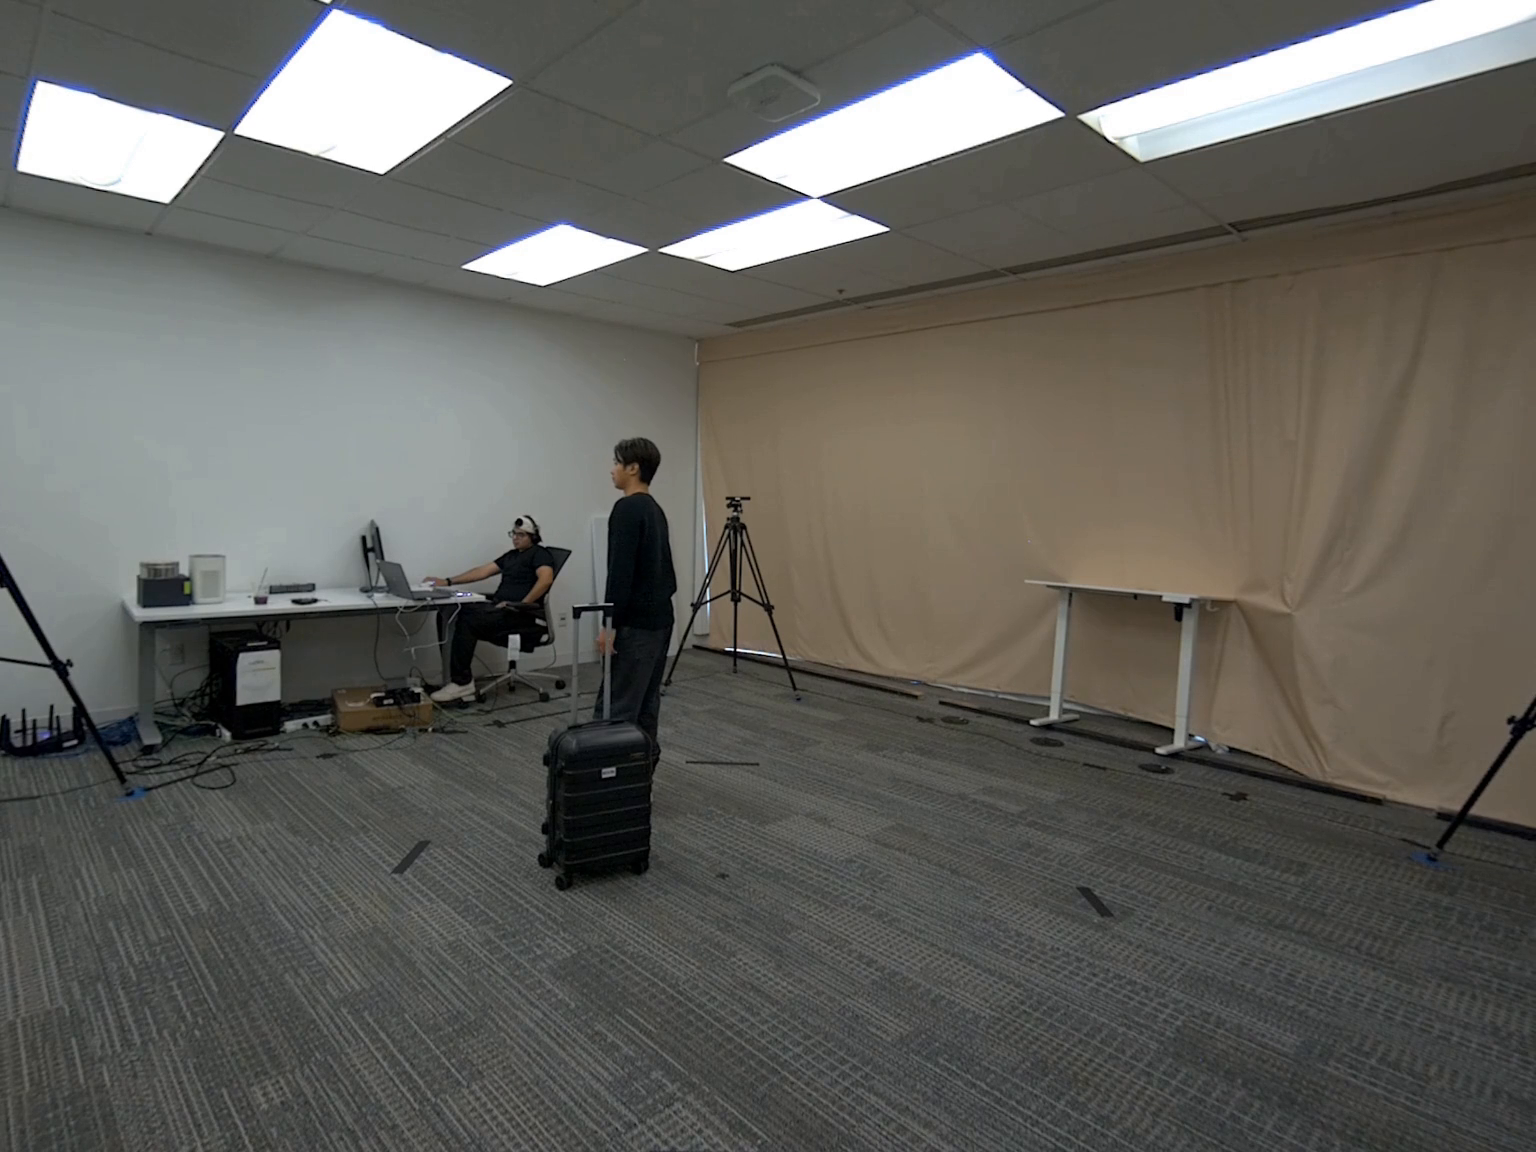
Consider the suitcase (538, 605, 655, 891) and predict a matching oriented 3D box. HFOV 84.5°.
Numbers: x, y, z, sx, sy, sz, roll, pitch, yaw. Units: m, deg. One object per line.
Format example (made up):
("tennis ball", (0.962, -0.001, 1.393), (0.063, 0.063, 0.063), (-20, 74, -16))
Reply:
("suitcase", (-0.622, 0.625, 3.088), (0.376, 0.975, 0.263), (0, 6, -30))
